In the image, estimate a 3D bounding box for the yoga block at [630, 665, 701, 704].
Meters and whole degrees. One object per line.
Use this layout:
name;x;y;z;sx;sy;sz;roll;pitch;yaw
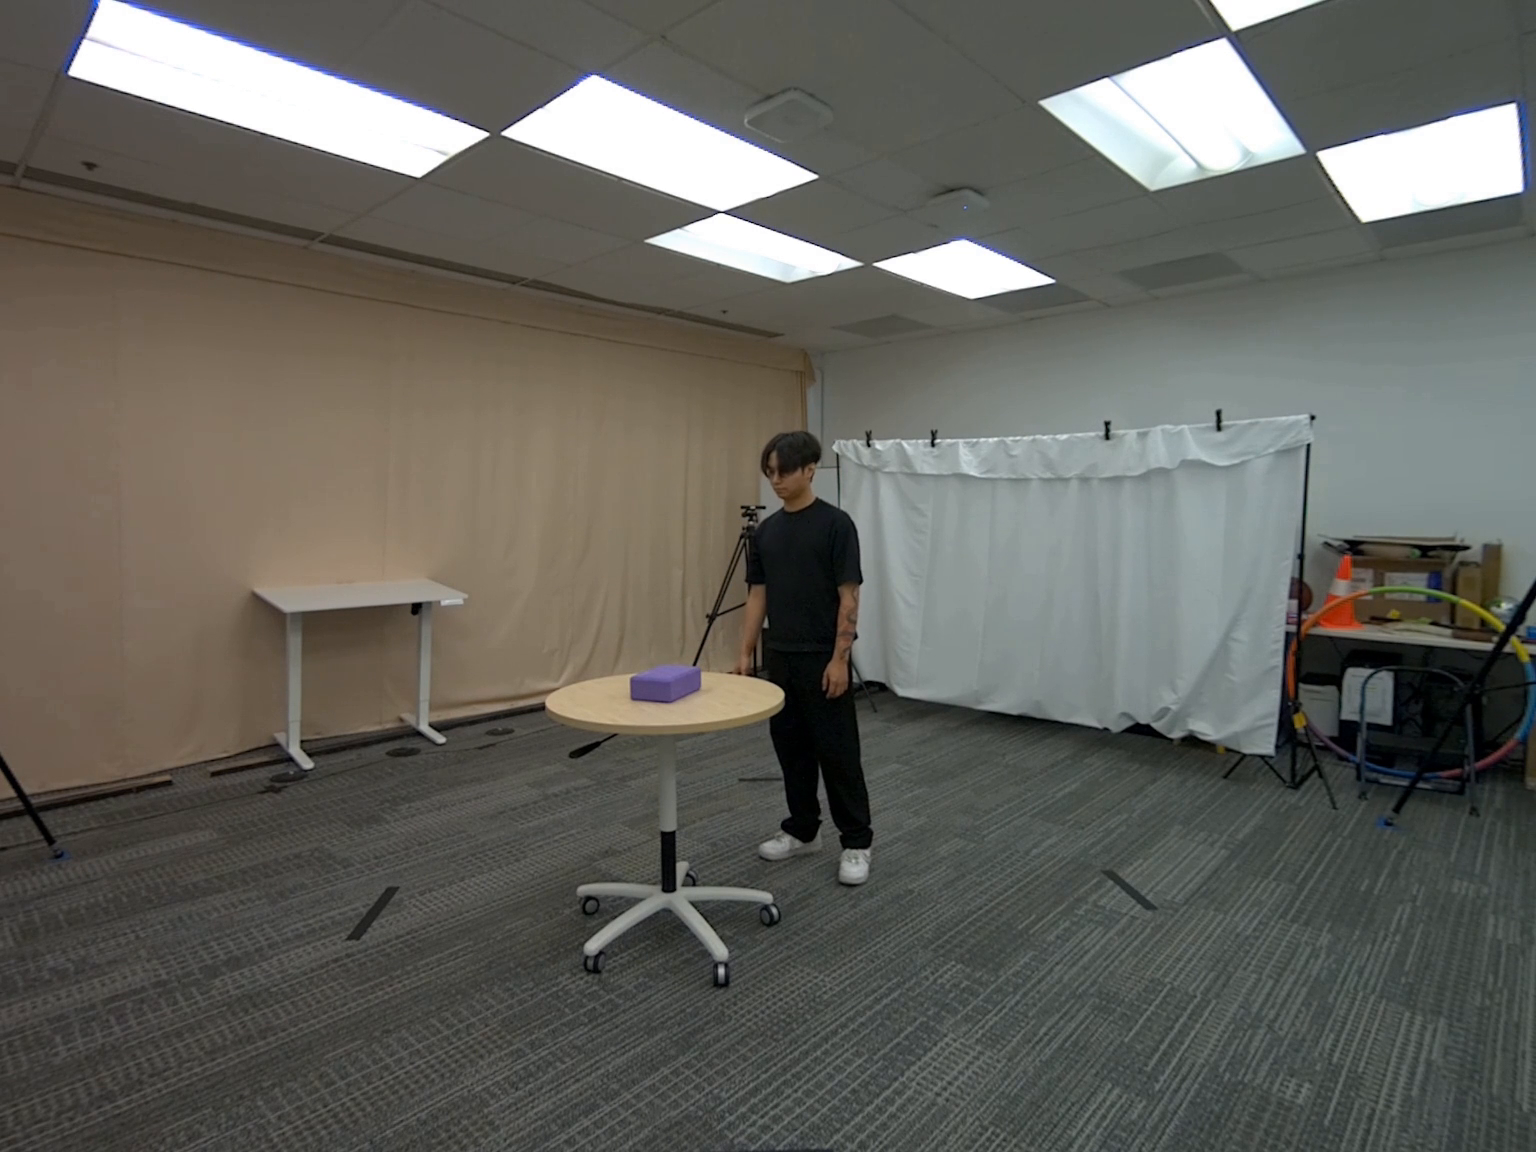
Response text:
yoga block;-0.329;0.346;2.718;0.152;0.076;0.225;1;5;20
